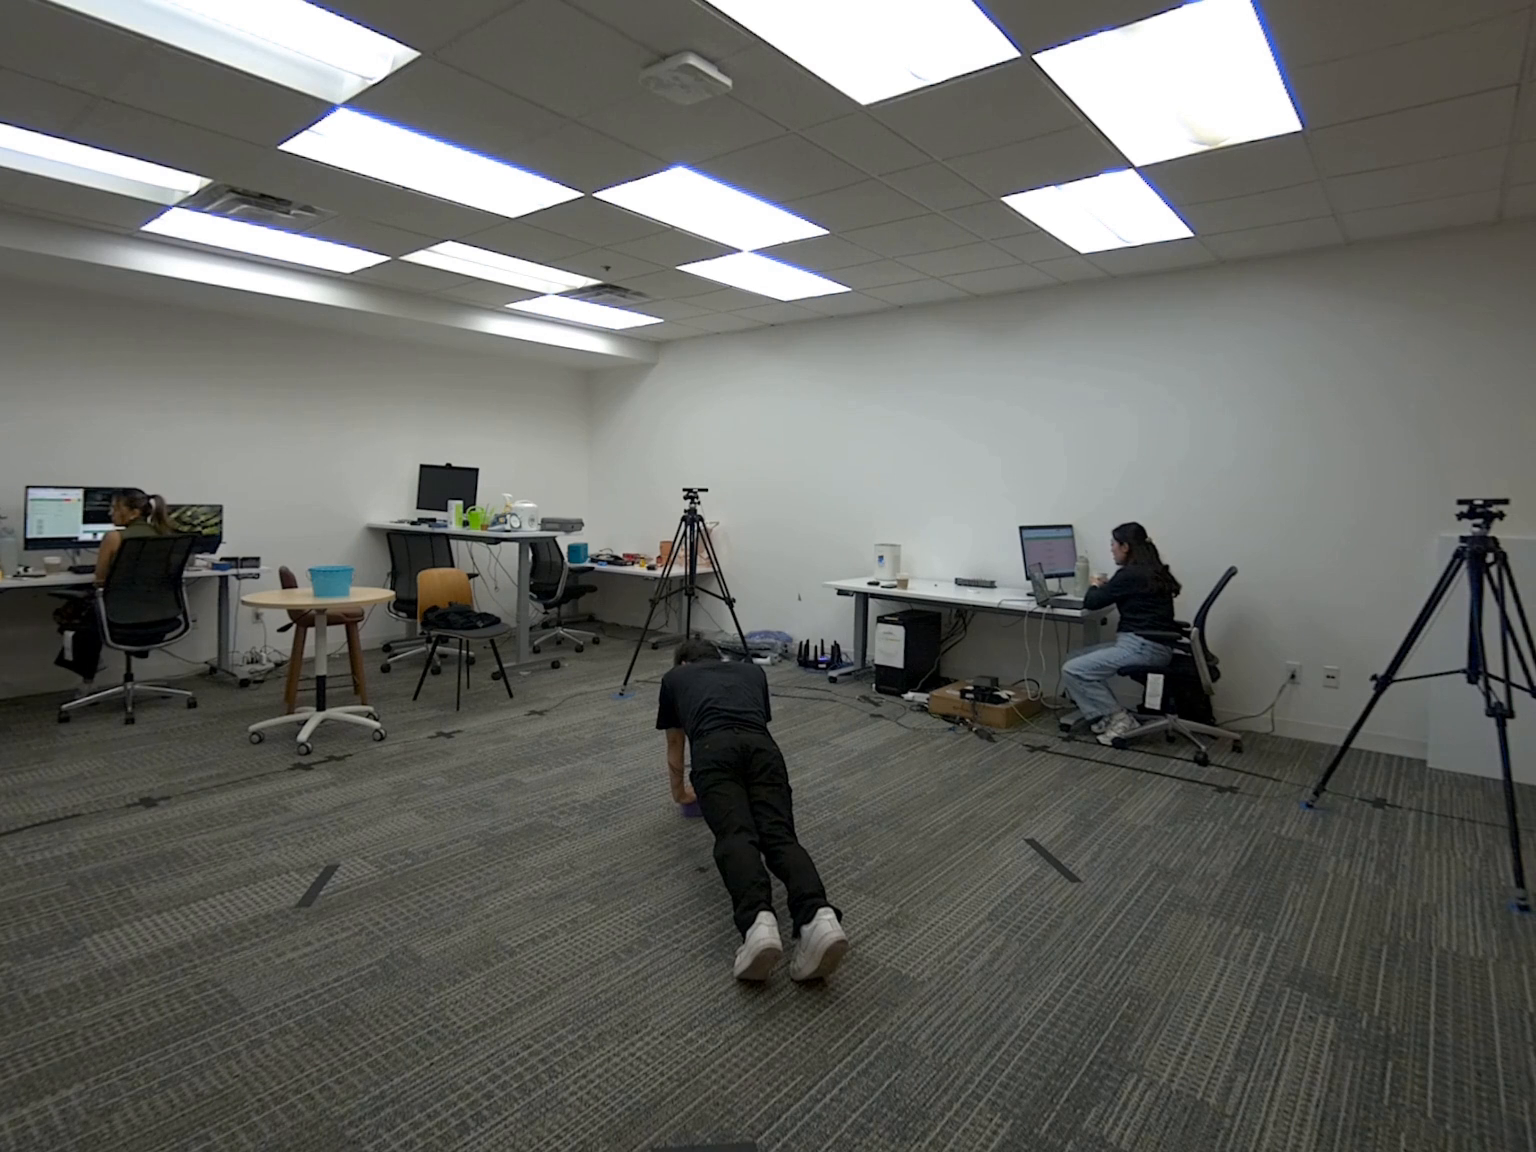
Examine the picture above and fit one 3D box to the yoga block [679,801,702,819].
[{"bbox_3d":[-0.272,0.971,3.688,0.226,0.076,0.152,0,6,-13],"label":"yoga block"}]
